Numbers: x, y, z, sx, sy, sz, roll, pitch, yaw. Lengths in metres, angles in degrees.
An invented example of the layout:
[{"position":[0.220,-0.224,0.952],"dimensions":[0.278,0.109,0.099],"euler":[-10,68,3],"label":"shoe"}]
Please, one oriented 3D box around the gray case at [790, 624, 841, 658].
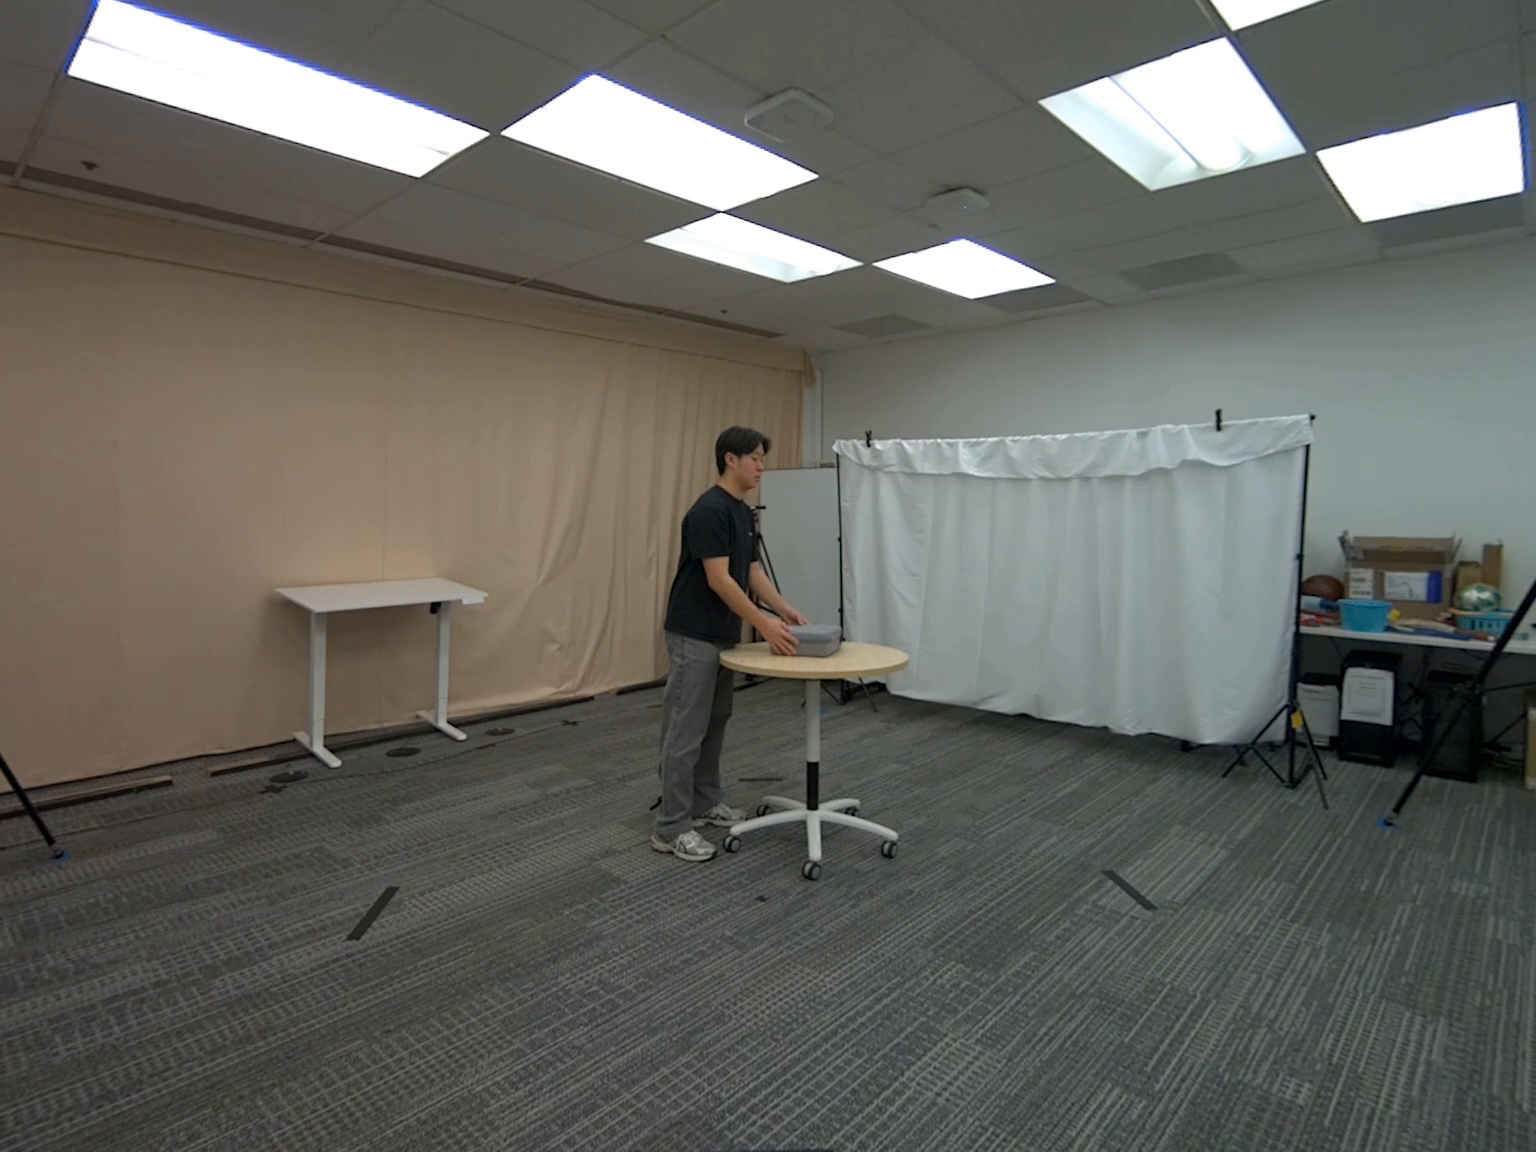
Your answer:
[{"position":[0.160,0.267,3.506],"dimensions":[0.294,0.103,0.257],"euler":[0,3,23],"label":"gray case"}]
